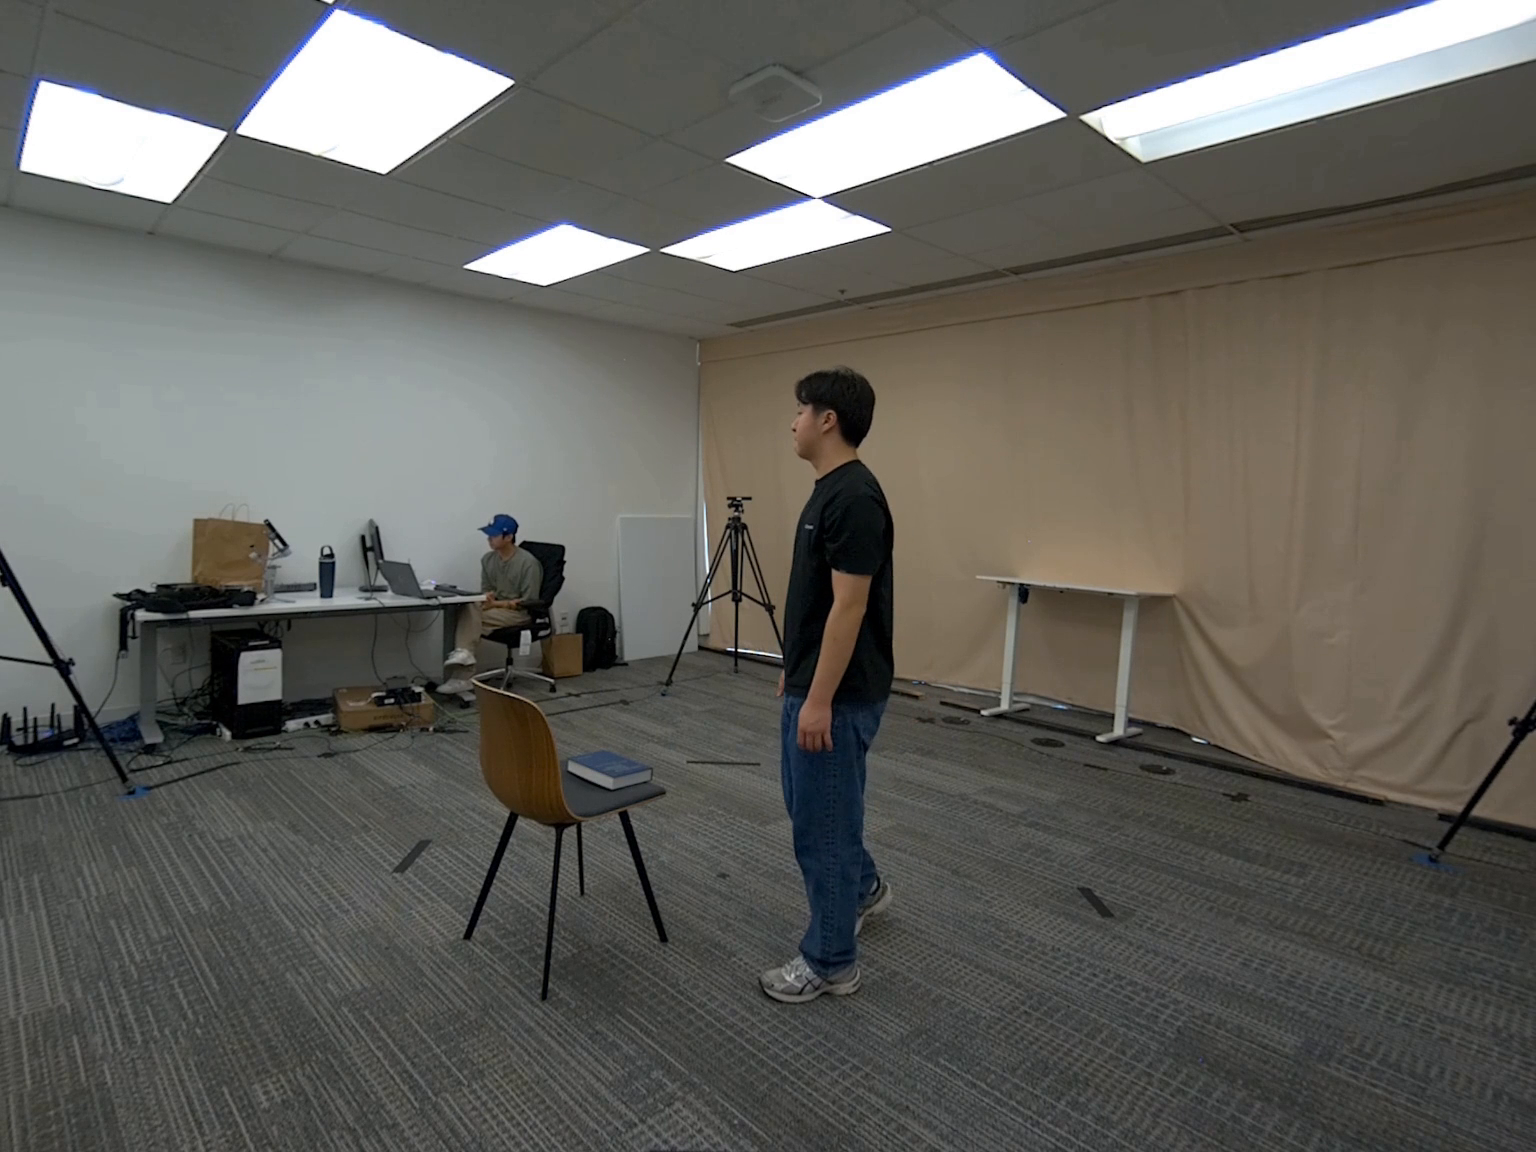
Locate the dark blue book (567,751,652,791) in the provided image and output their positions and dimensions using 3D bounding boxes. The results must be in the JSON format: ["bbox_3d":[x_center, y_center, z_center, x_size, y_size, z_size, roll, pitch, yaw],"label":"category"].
[{"bbox_3d":[-0.516,0.627,2.719,0.251,0.045,0.159,8,6,43],"label":"dark blue book"}]
